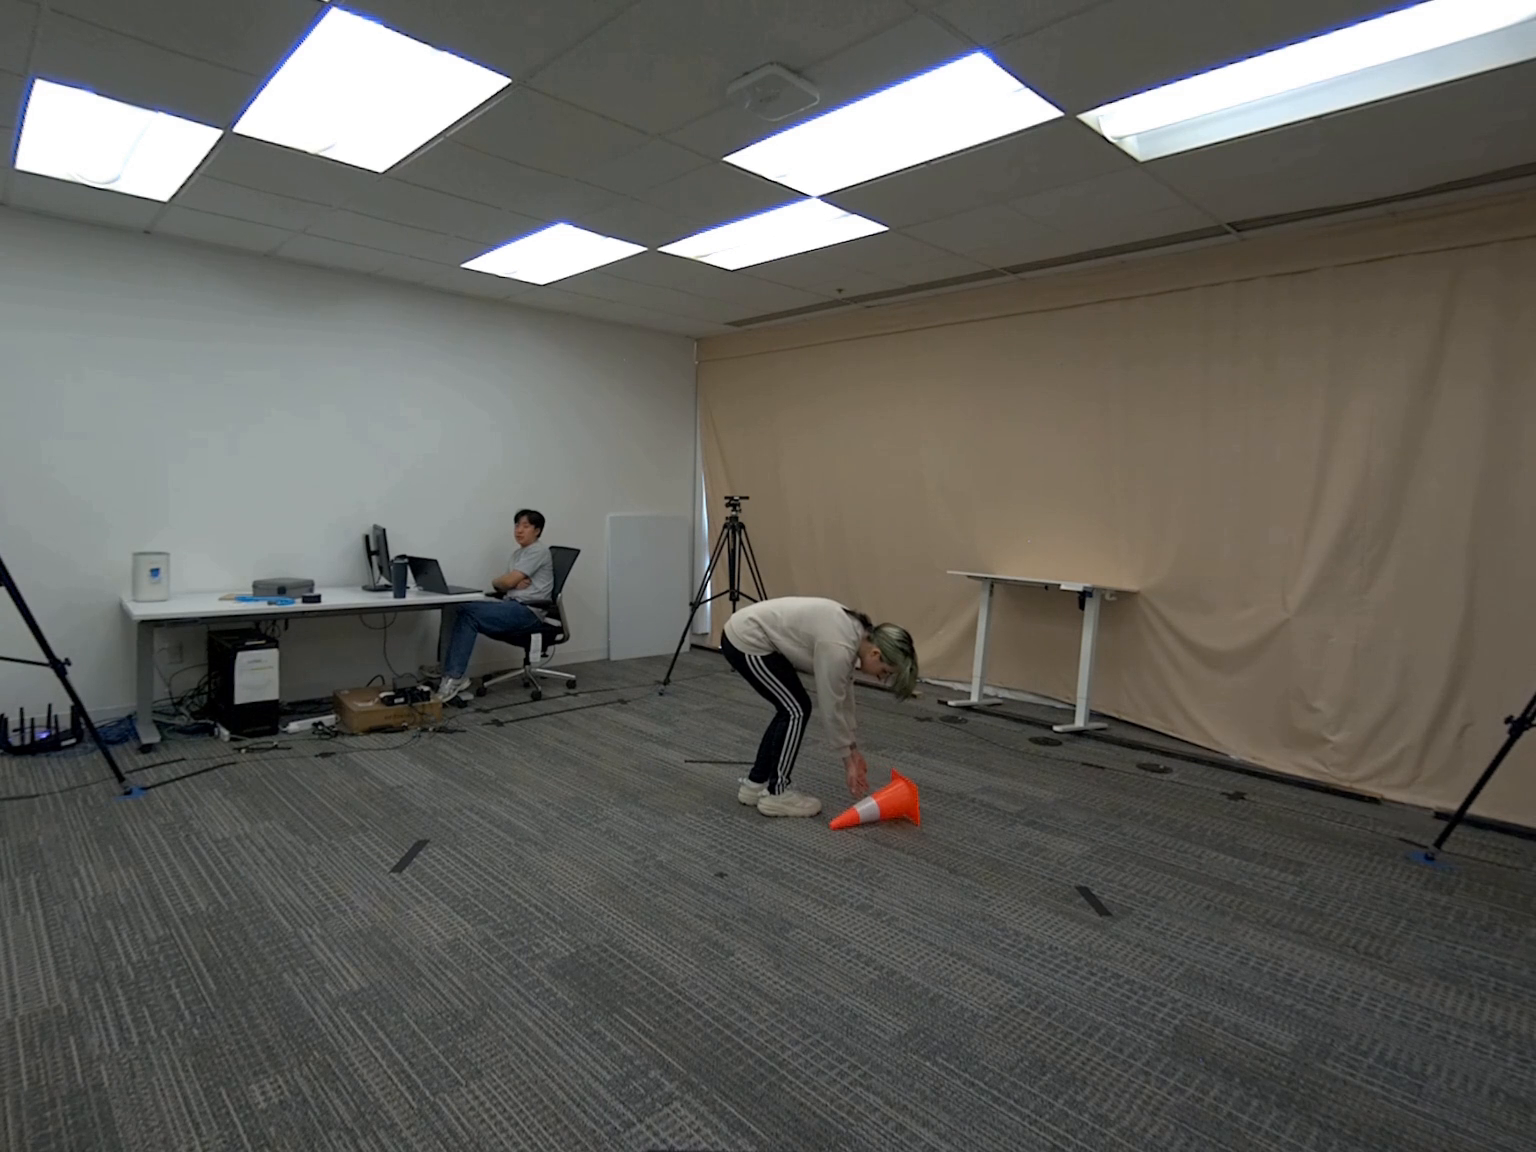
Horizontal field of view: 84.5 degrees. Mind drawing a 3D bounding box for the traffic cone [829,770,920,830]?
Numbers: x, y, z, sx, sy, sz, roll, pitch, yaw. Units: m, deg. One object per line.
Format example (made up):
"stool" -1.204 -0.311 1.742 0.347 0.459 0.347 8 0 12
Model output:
"traffic cone" 0.419 1.009 3.637 0.379 0.202 0.208 -15 18 -24
